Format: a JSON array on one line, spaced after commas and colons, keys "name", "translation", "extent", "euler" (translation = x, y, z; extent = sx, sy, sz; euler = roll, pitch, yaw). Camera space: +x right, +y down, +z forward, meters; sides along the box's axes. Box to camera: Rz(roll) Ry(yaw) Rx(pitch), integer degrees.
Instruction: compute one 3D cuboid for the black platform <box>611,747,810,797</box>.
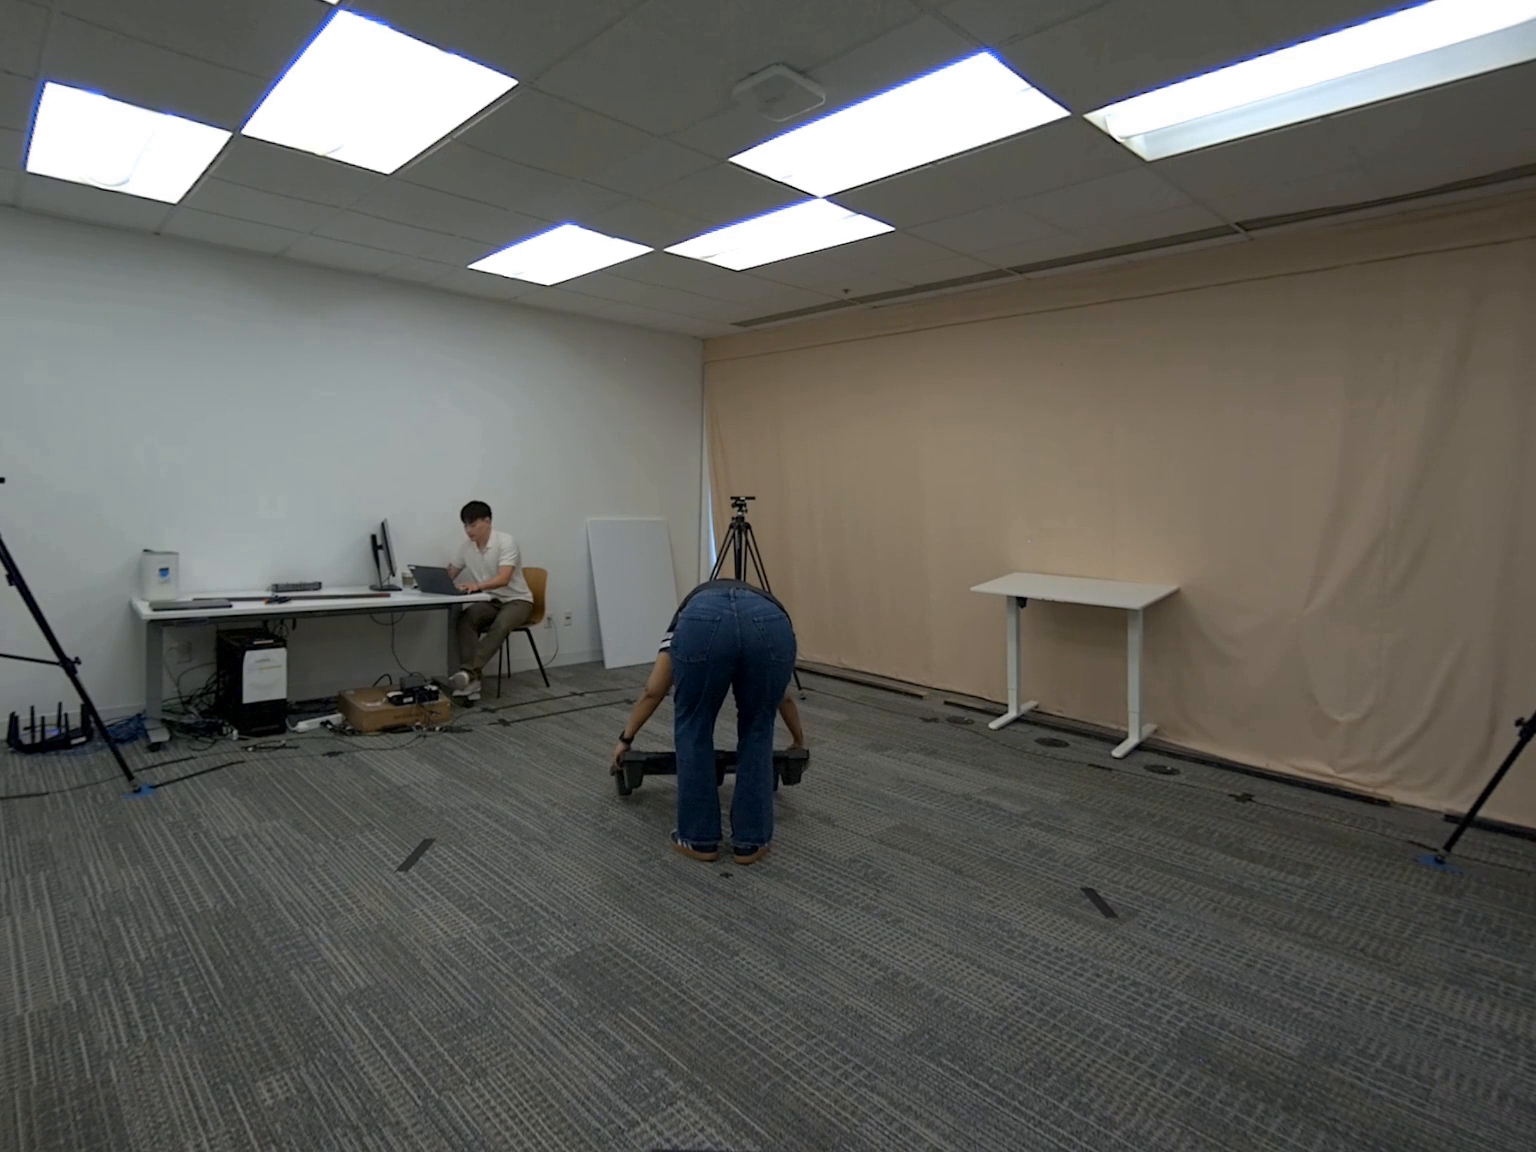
[{"name": "black platform", "translation": [-0.285, 0.883, 3.755], "extent": [0.797, 0.145, 0.602], "euler": [1, -19, -13]}]
